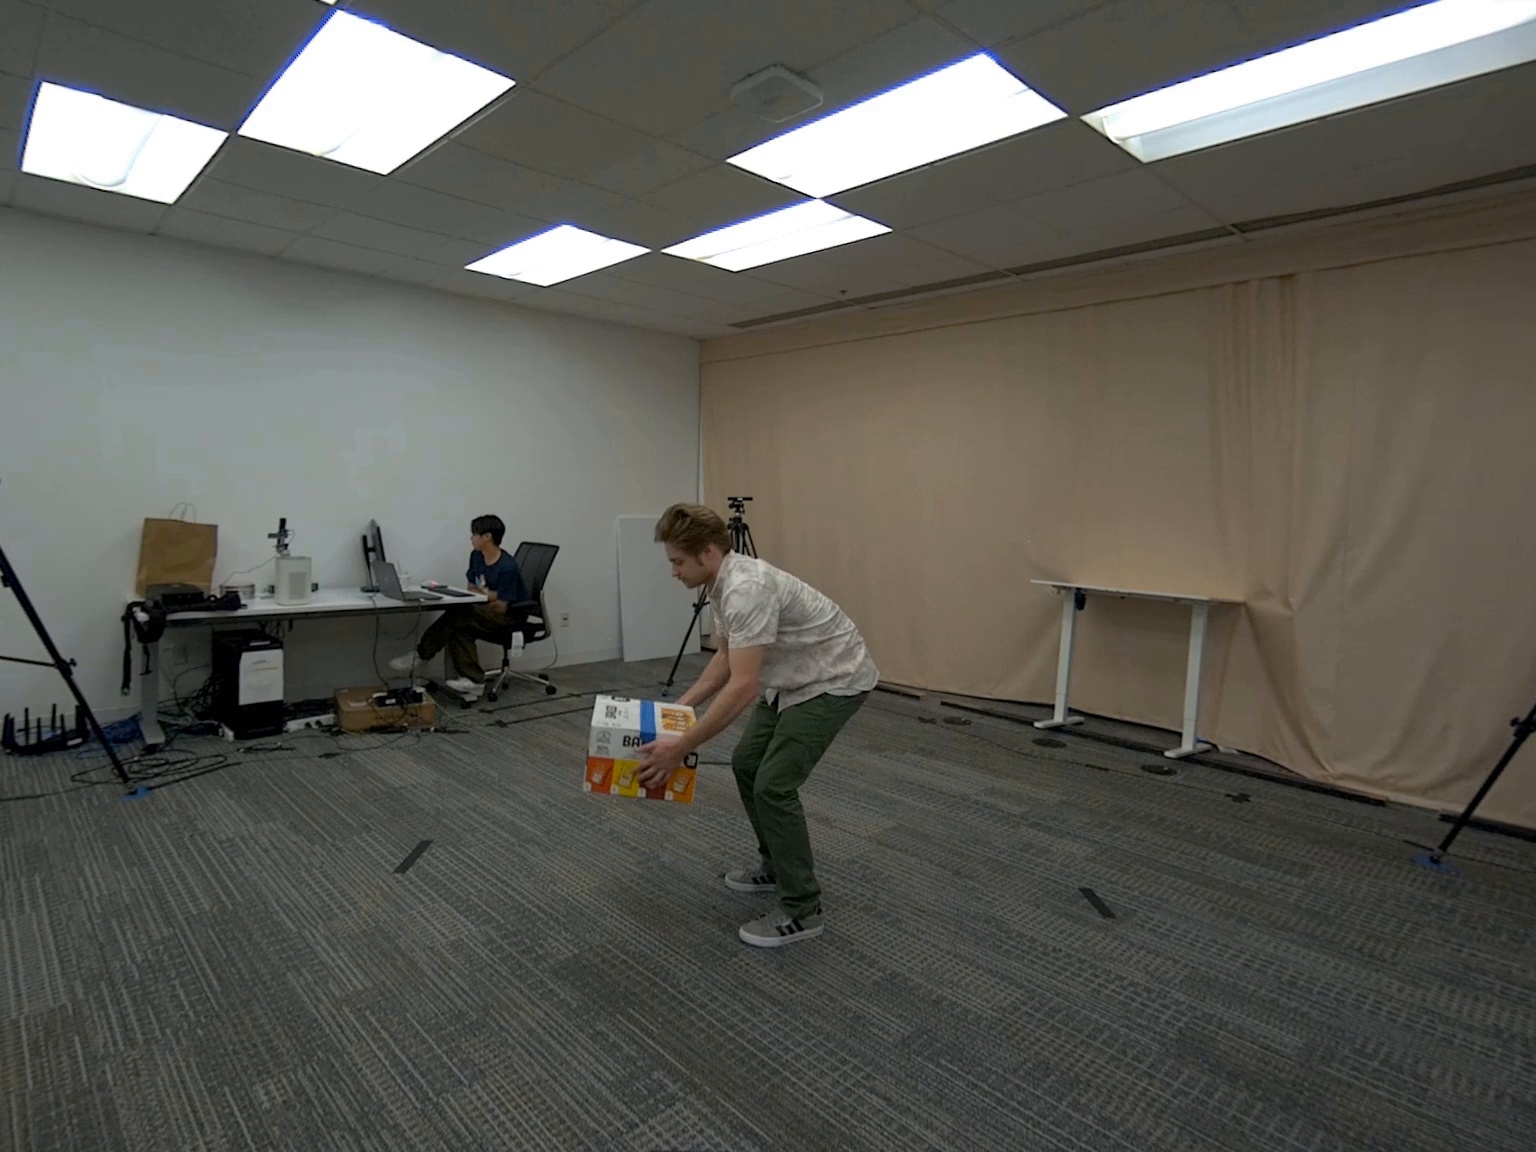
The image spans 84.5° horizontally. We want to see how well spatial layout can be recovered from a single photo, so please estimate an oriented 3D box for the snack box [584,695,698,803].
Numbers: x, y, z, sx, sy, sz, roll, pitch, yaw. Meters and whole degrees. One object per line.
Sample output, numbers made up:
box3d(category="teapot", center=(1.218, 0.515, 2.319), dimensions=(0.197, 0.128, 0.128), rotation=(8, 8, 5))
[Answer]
box3d(category="snack box", center=(-0.415, 0.558, 2.764), dimensions=(0.338, 0.205, 0.409), rotation=(8, 3, -9))
